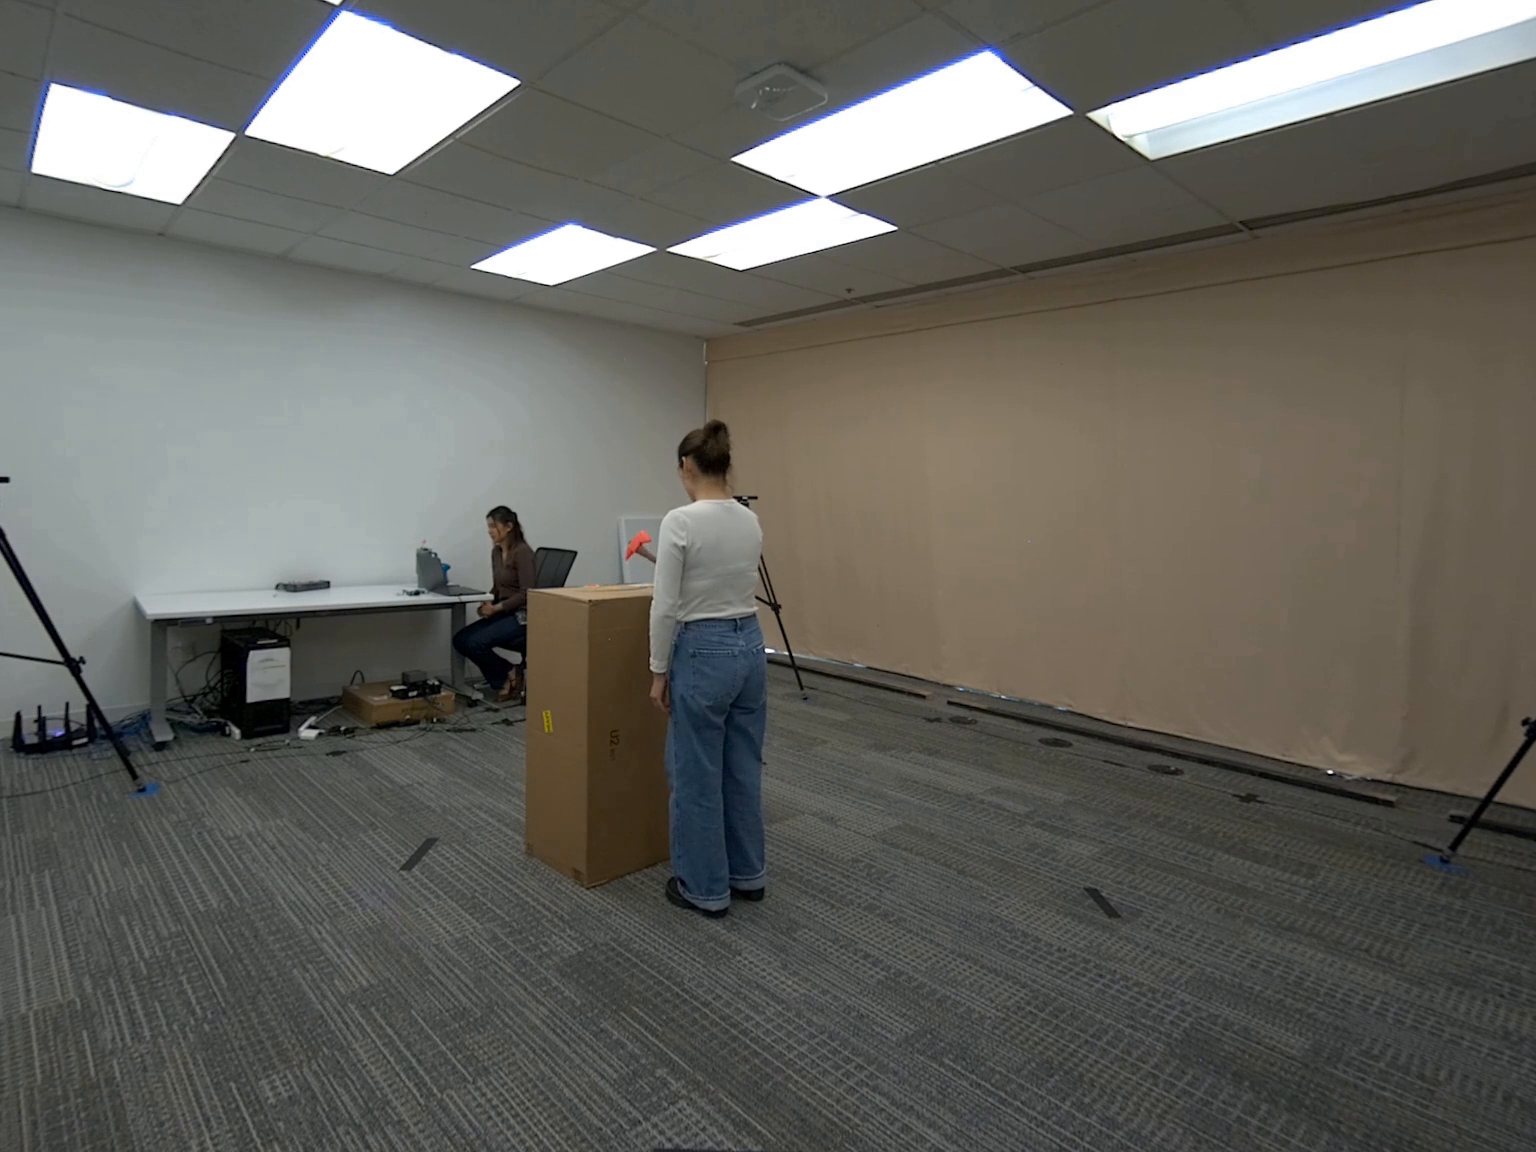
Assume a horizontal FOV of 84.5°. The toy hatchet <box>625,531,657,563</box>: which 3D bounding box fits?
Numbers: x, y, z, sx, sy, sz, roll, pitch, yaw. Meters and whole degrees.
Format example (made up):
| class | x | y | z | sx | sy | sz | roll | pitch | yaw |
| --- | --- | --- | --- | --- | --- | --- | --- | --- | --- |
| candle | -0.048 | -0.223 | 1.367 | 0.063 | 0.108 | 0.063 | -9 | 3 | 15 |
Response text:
| class | x | y | z | sx | sy | sz | roll | pitch | yaw |
| --- | --- | --- | --- | --- | --- | --- | --- | --- | --- |
| toy hatchet | -0.429 | -0.093 | 3.198 | 0.277 | 0.131 | 0.029 | 12 | -12 | 31 |
